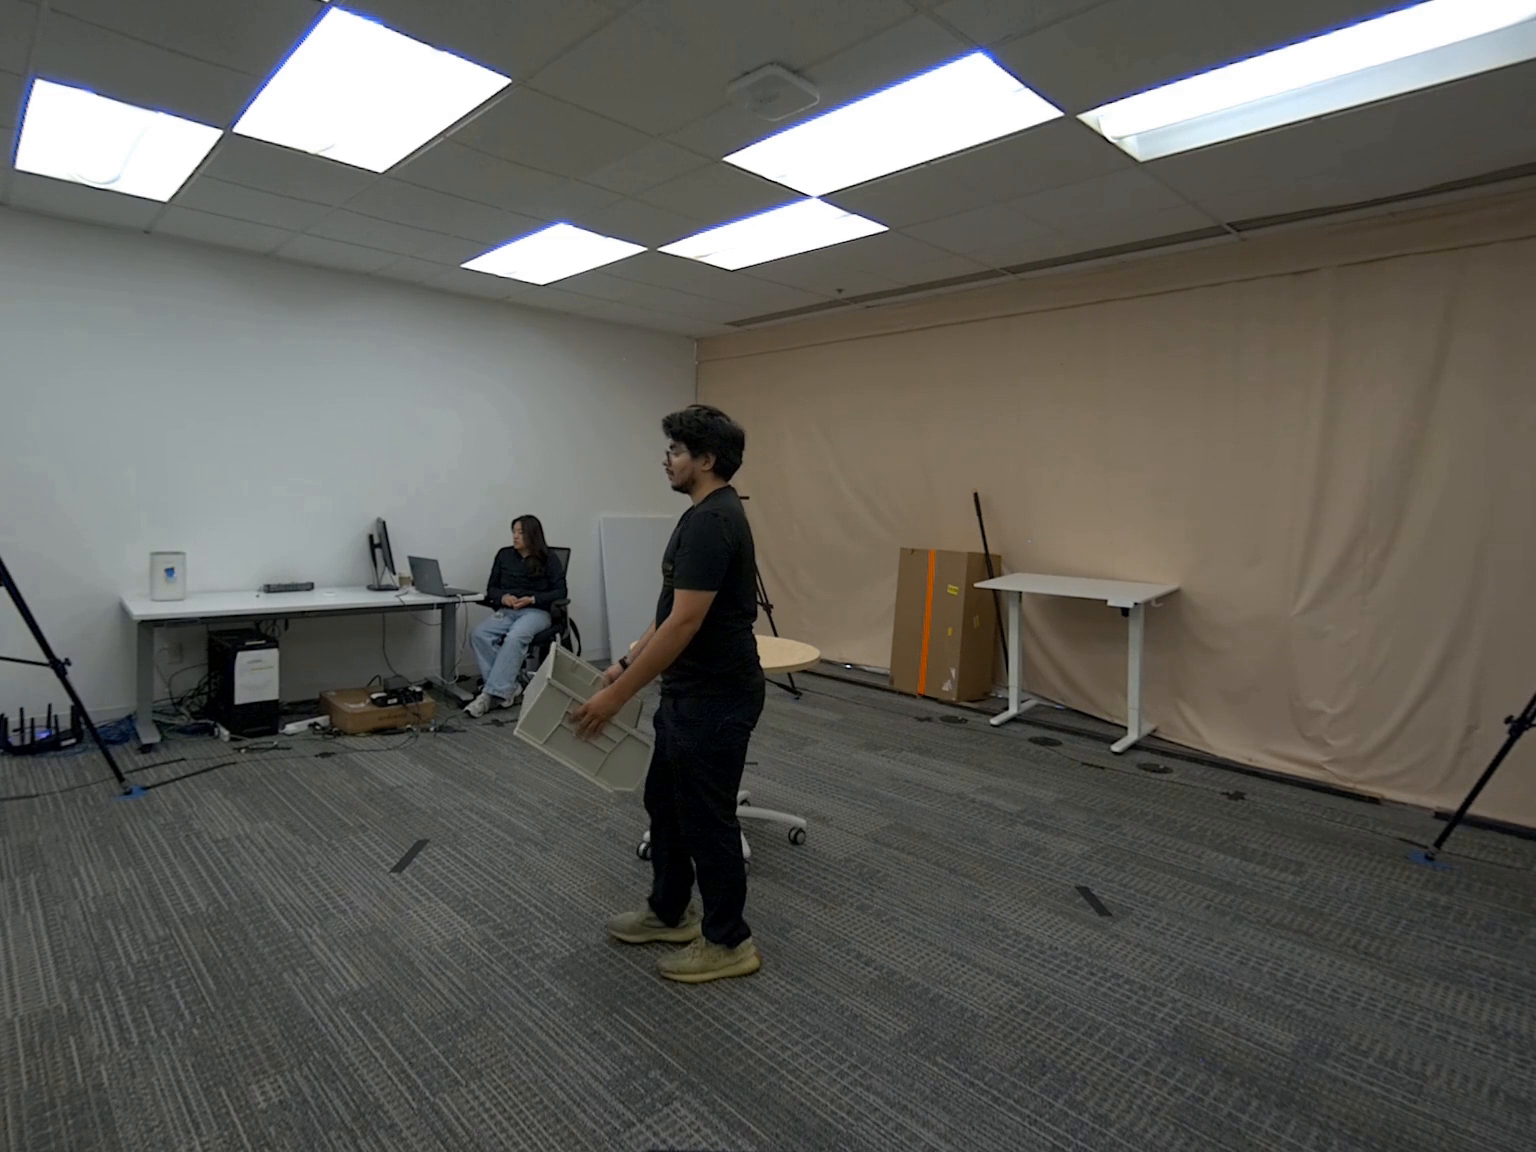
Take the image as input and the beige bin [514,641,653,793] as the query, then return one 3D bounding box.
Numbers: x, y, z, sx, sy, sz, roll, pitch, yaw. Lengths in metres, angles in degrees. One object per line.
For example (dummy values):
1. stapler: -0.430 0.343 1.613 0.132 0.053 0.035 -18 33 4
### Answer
1. beige bin: -0.523 0.416 2.440 0.372 0.189 0.428 34 0 -14
